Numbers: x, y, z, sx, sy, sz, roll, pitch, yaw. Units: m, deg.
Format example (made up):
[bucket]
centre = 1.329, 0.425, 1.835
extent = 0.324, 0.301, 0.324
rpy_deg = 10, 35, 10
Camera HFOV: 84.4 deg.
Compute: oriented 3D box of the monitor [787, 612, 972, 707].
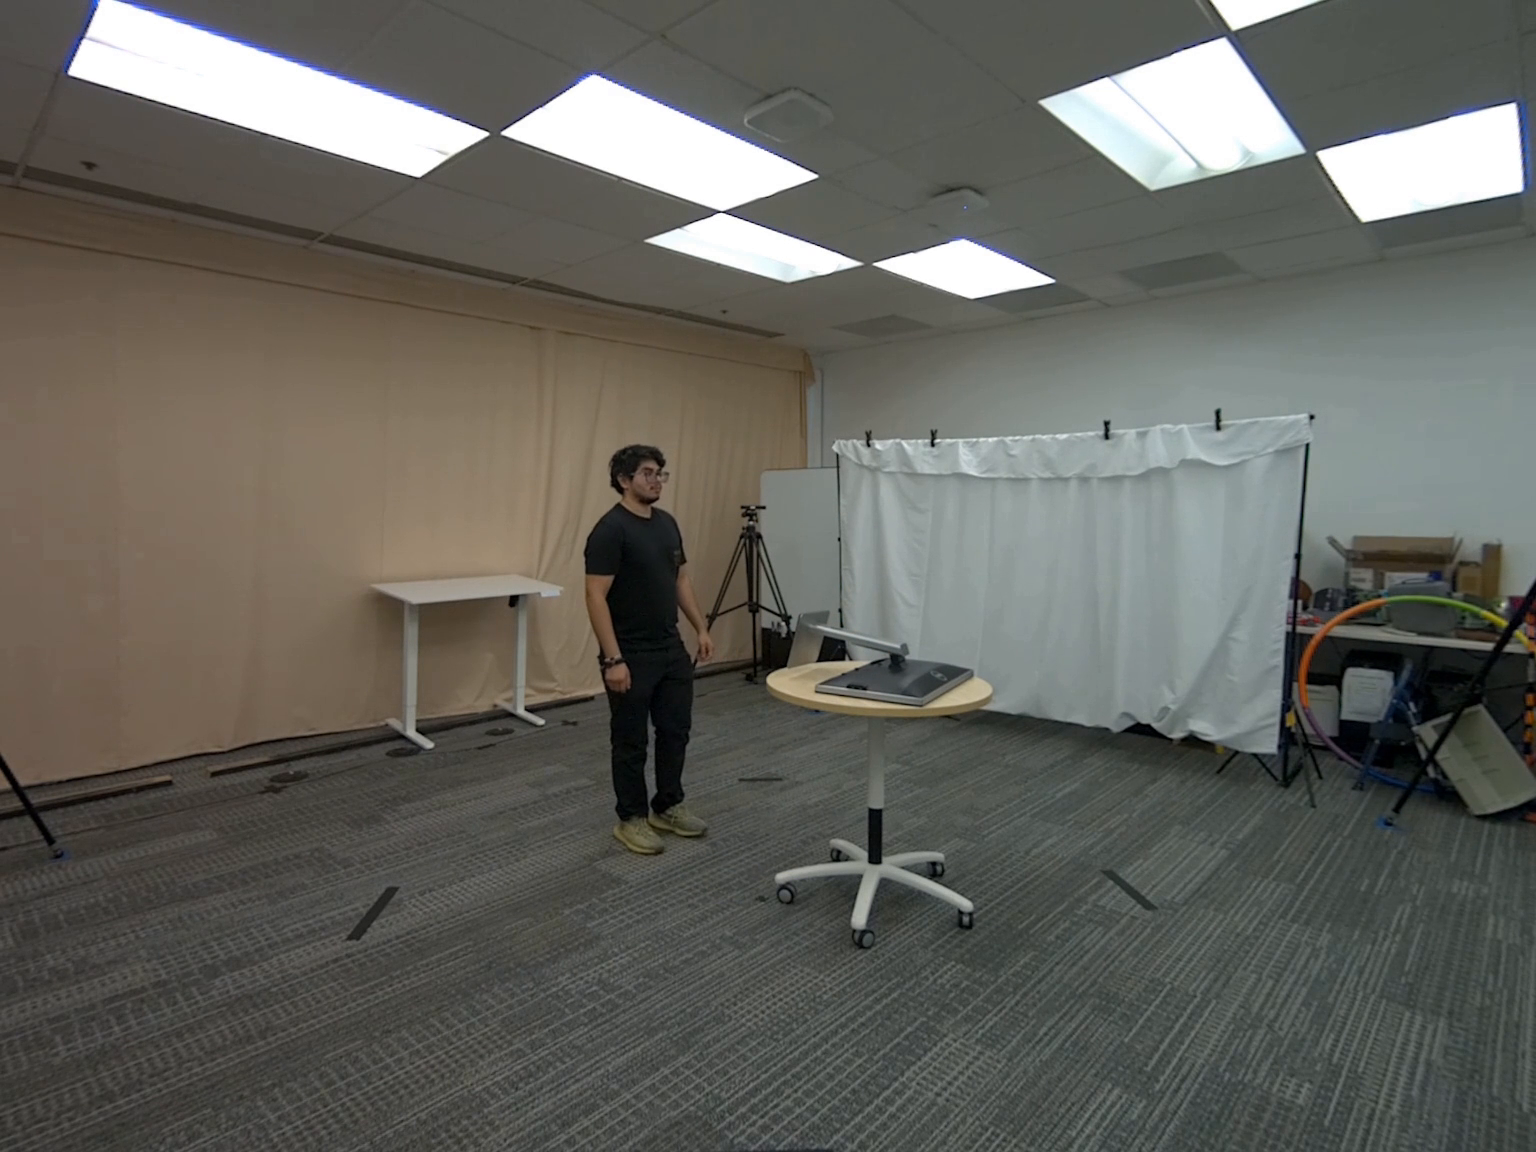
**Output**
[monitor]
centre = 0.379, 0.274, 2.916
extent = 0.571, 0.209, 0.550
rpy_deg = 10, 8, 30
